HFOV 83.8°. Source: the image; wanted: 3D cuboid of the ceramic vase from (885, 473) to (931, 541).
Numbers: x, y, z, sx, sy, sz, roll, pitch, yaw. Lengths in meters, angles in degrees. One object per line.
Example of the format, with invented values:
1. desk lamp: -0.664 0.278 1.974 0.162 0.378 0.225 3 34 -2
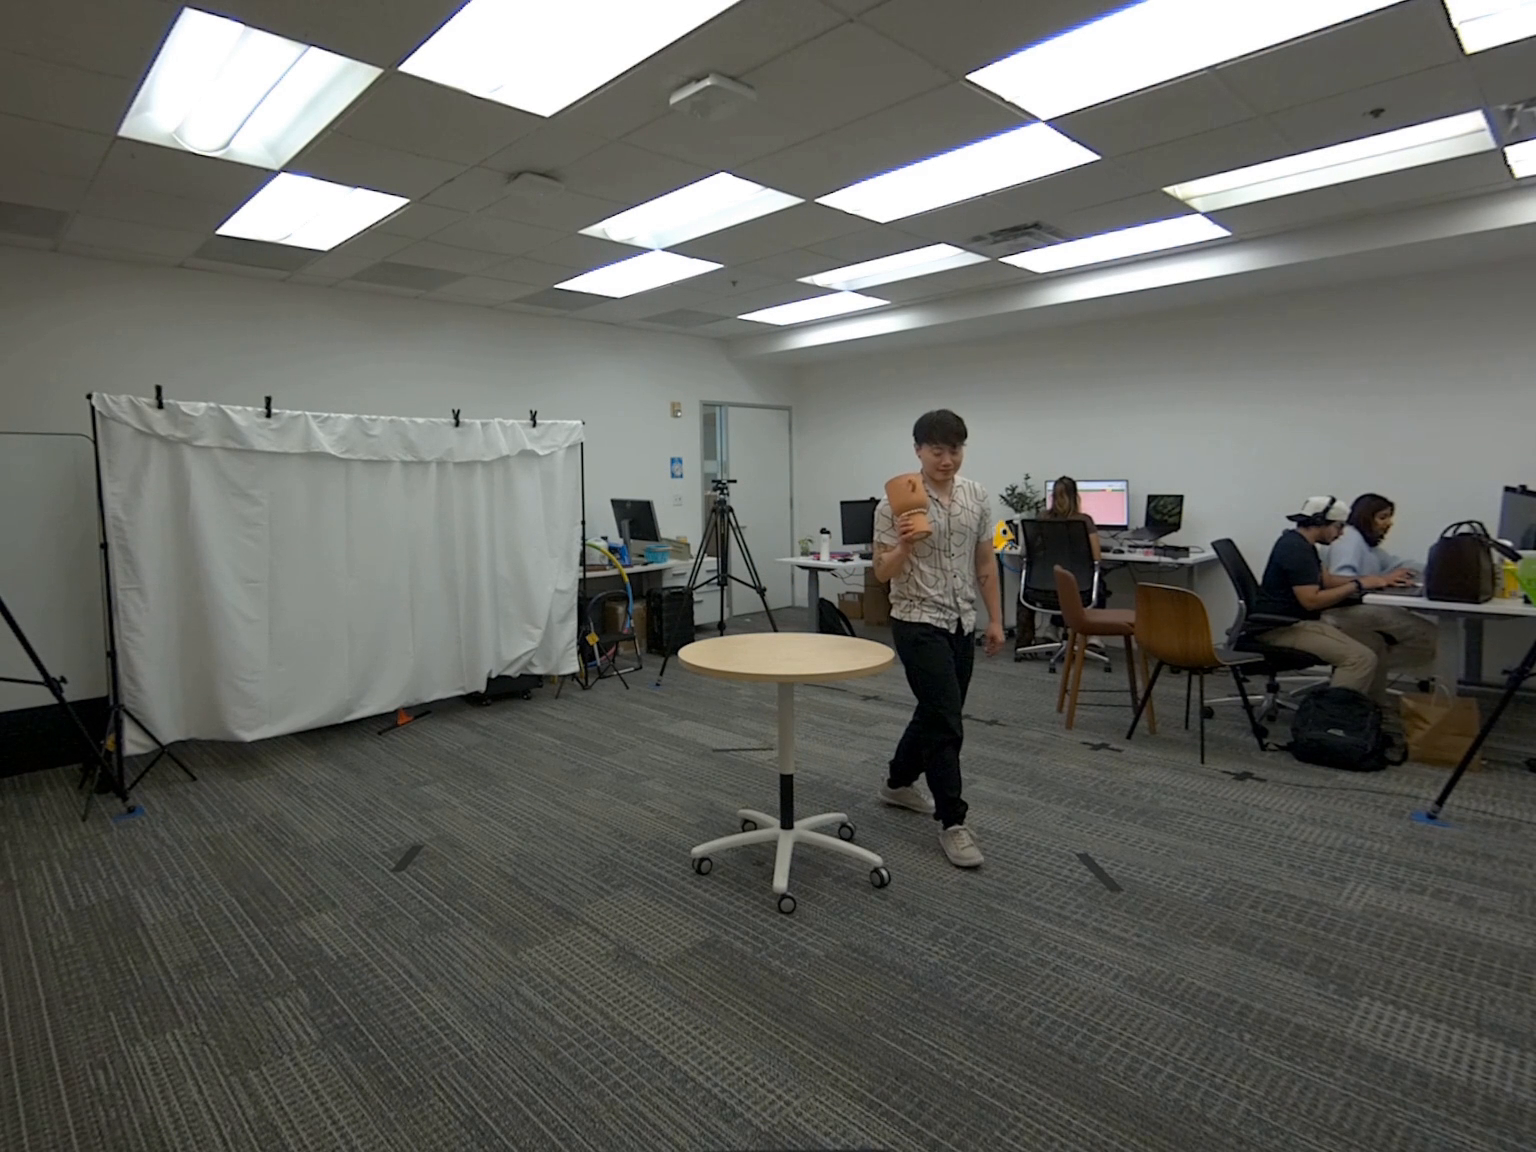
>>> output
1. ceramic vase: 0.510 -0.244 3.052 0.136 0.224 0.153 -23 -22 27
